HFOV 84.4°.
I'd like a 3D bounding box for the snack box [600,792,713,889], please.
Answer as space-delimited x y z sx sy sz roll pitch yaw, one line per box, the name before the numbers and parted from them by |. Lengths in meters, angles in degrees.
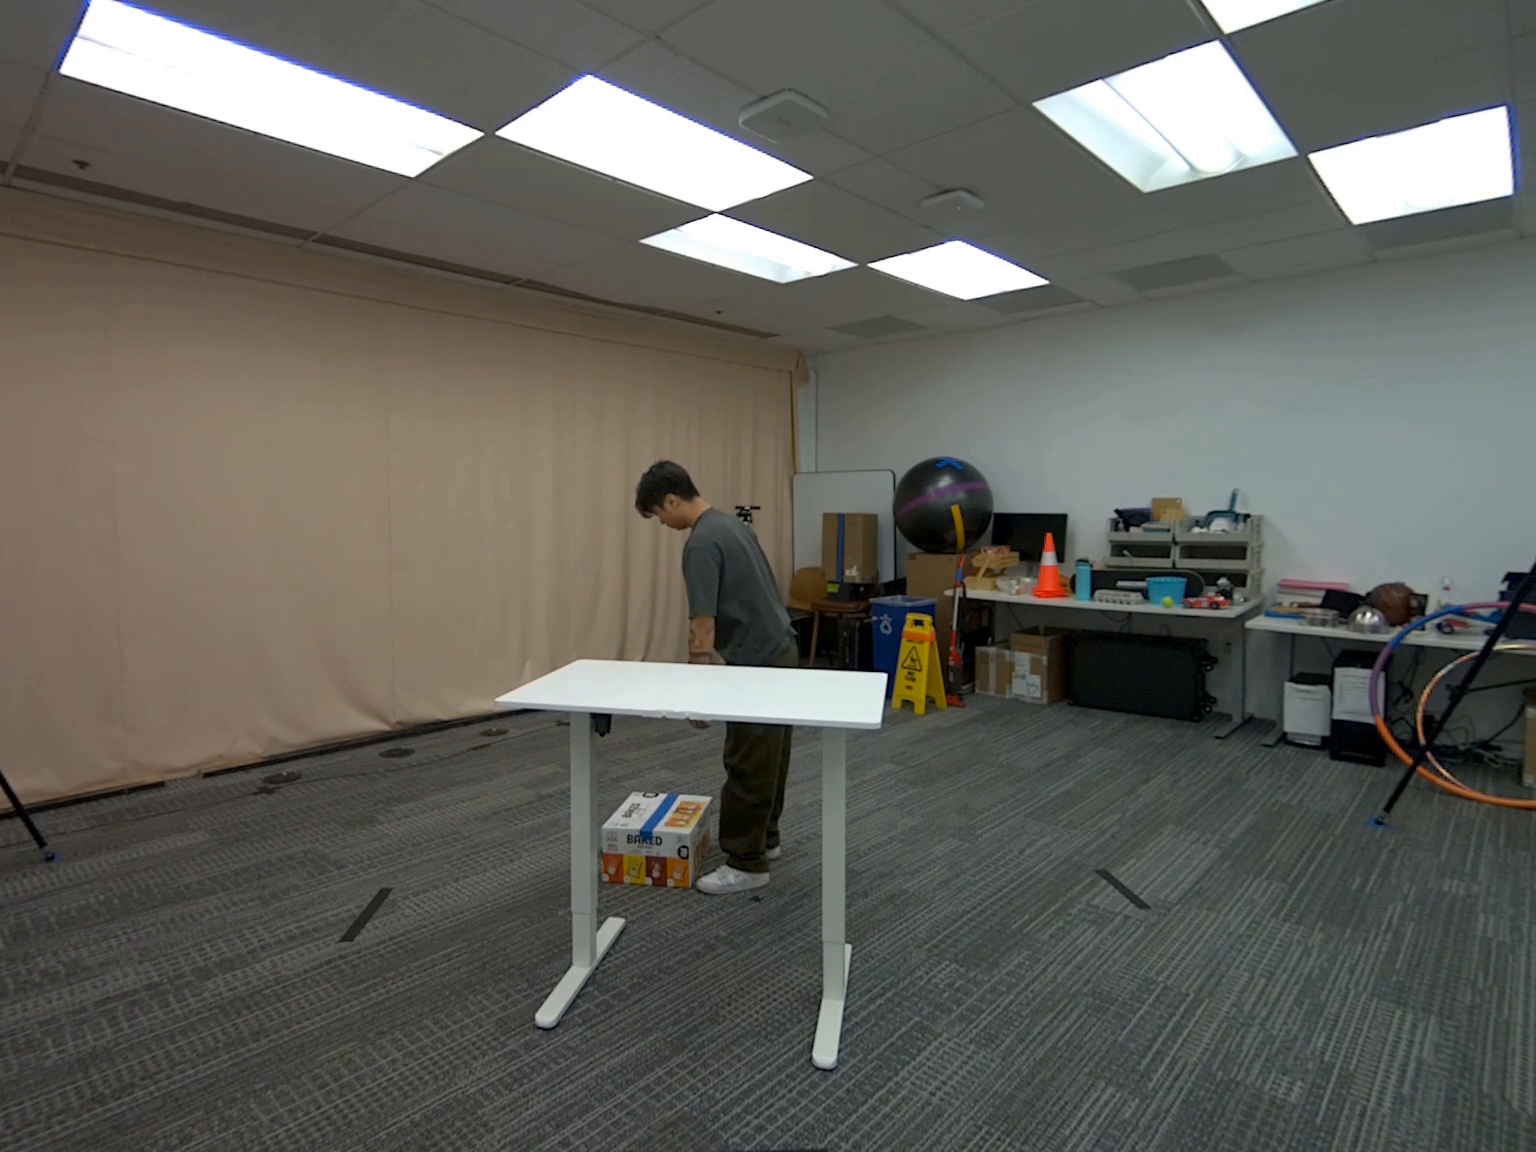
snack box | -0.421 1.023 3.290 0.344 0.205 0.401 0 4 10
